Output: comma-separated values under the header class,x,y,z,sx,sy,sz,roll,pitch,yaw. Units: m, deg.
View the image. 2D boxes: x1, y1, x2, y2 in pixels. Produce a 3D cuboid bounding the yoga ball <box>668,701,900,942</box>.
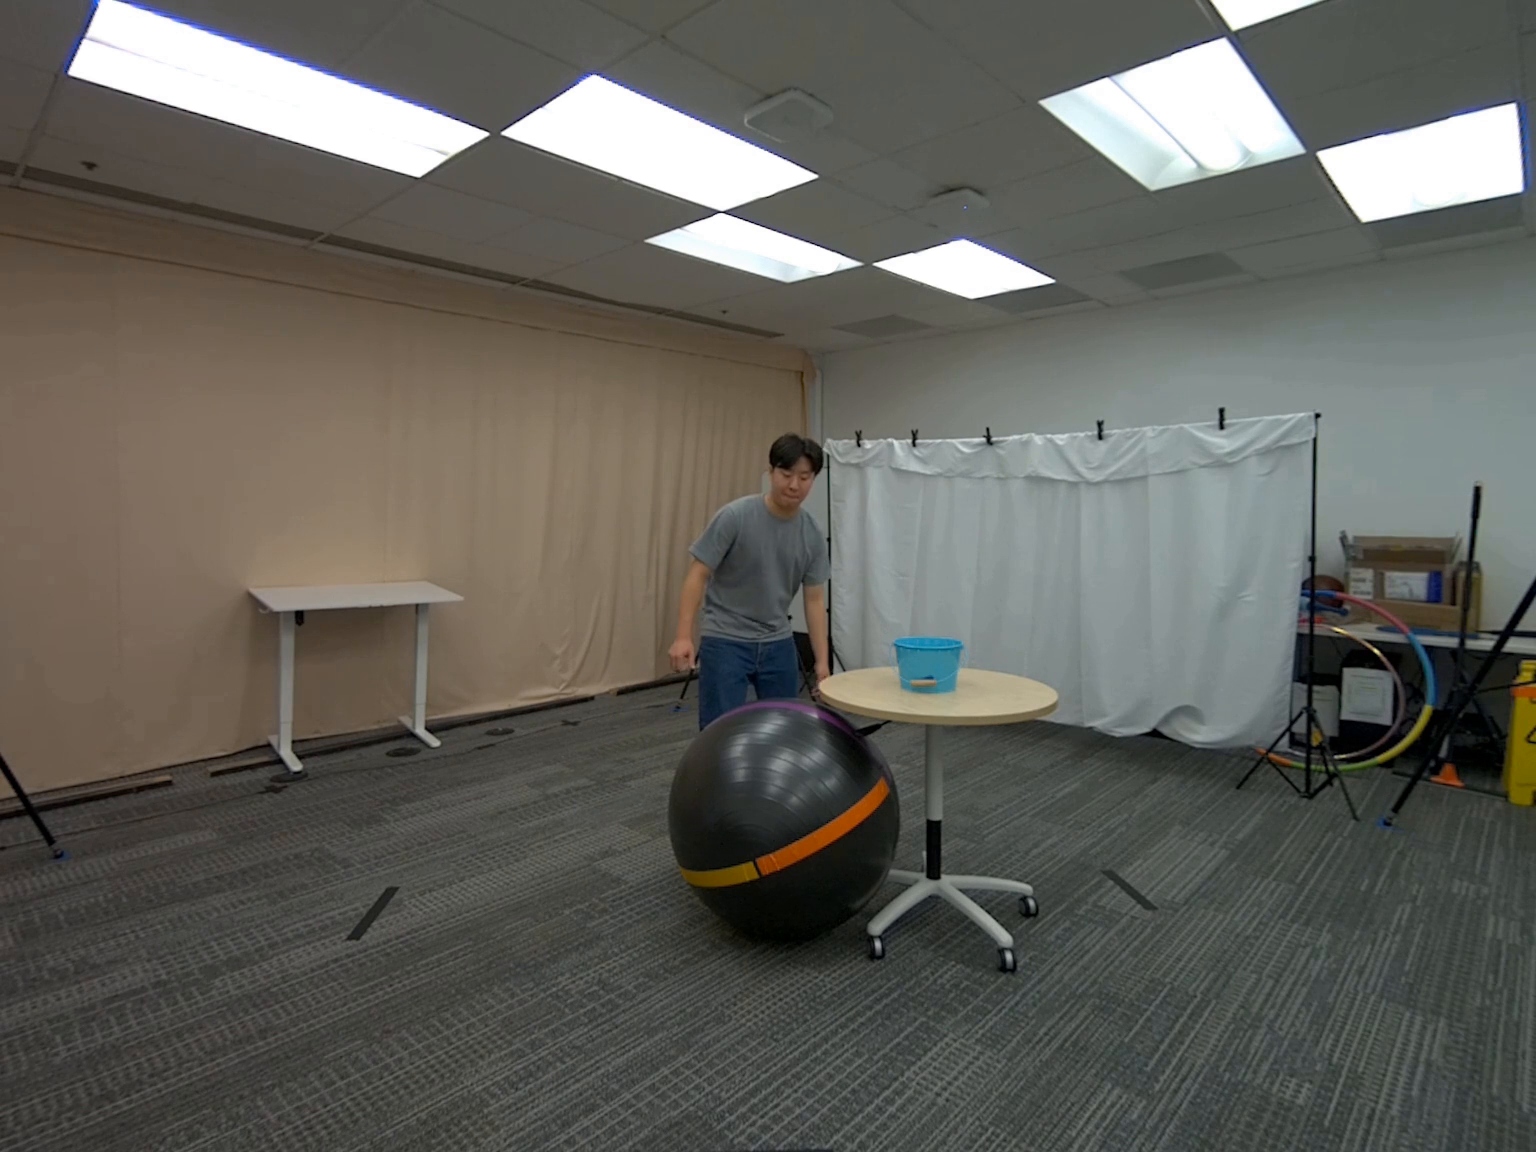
class,x,y,z,sx,sy,sz,roll,pitch,yaw
yoga ball,0.052,0.788,2.779,0.757,0.756,0.760,0,4,-2
